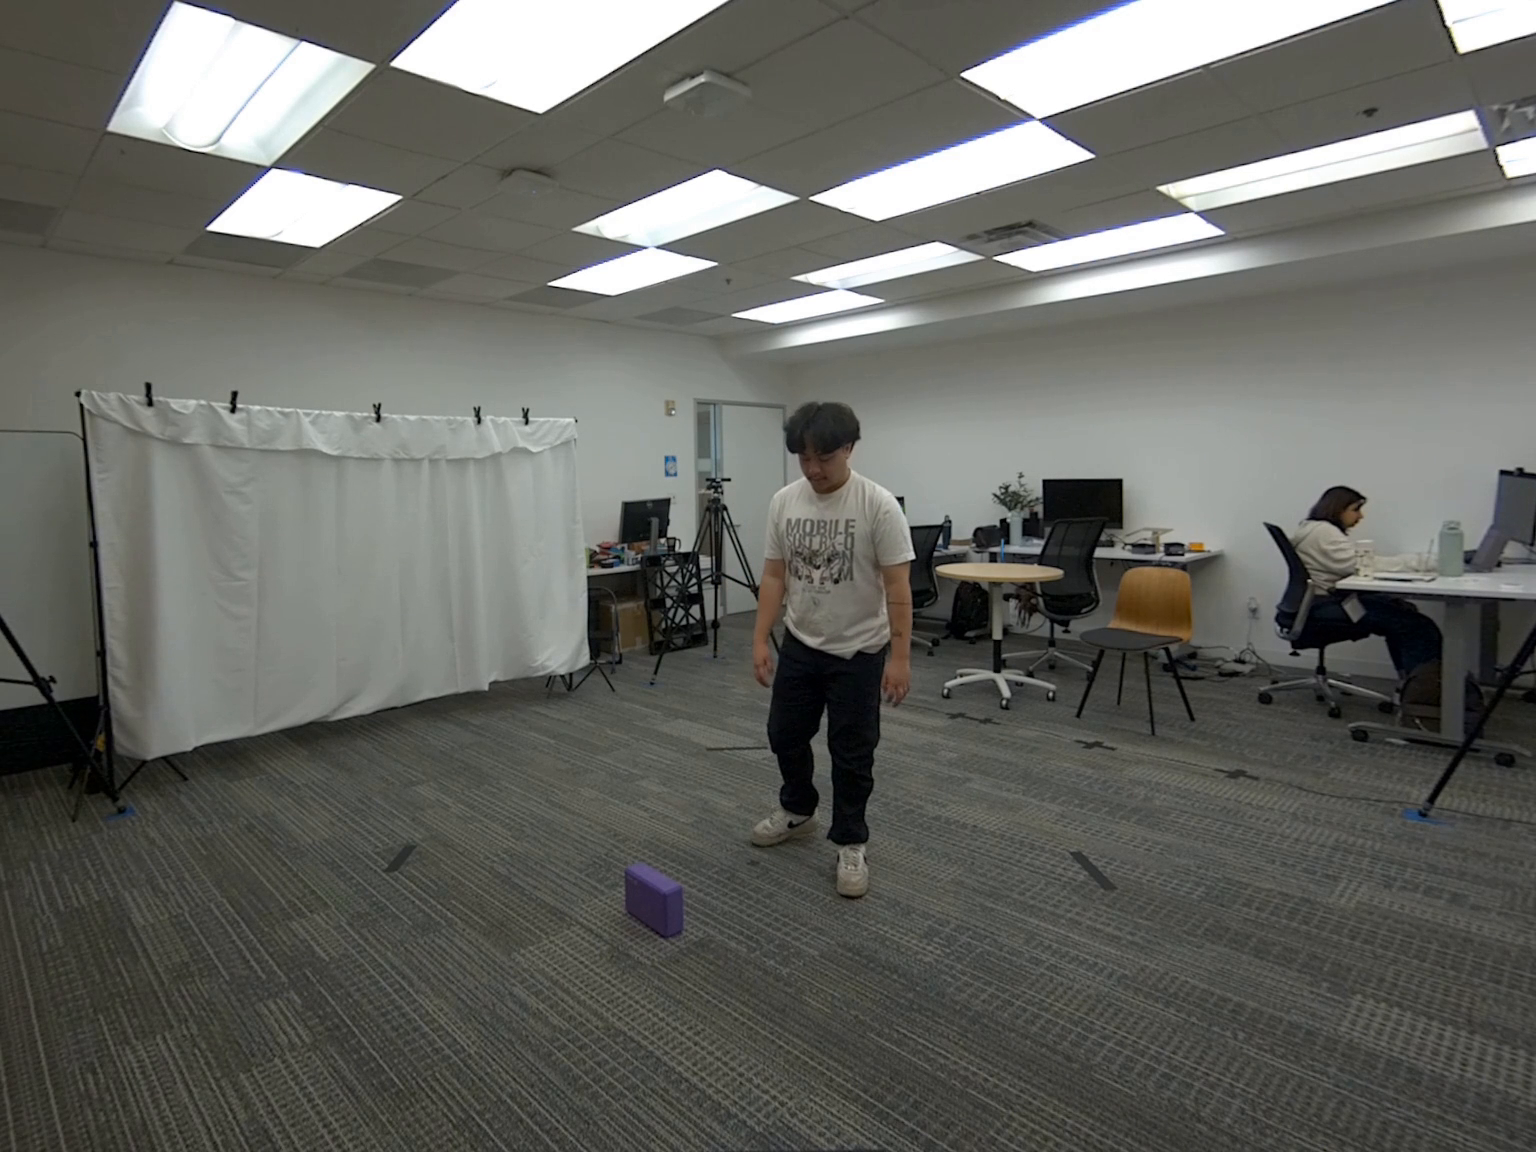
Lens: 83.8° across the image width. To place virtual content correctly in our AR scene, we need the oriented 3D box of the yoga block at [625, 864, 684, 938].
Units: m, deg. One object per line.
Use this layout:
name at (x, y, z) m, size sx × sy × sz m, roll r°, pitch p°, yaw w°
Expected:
yoga block at (-0.358, 1.021, 2.701) m, size 0.074 × 0.148 × 0.236 m, roll -5°, pitch 7°, yaw -41°
